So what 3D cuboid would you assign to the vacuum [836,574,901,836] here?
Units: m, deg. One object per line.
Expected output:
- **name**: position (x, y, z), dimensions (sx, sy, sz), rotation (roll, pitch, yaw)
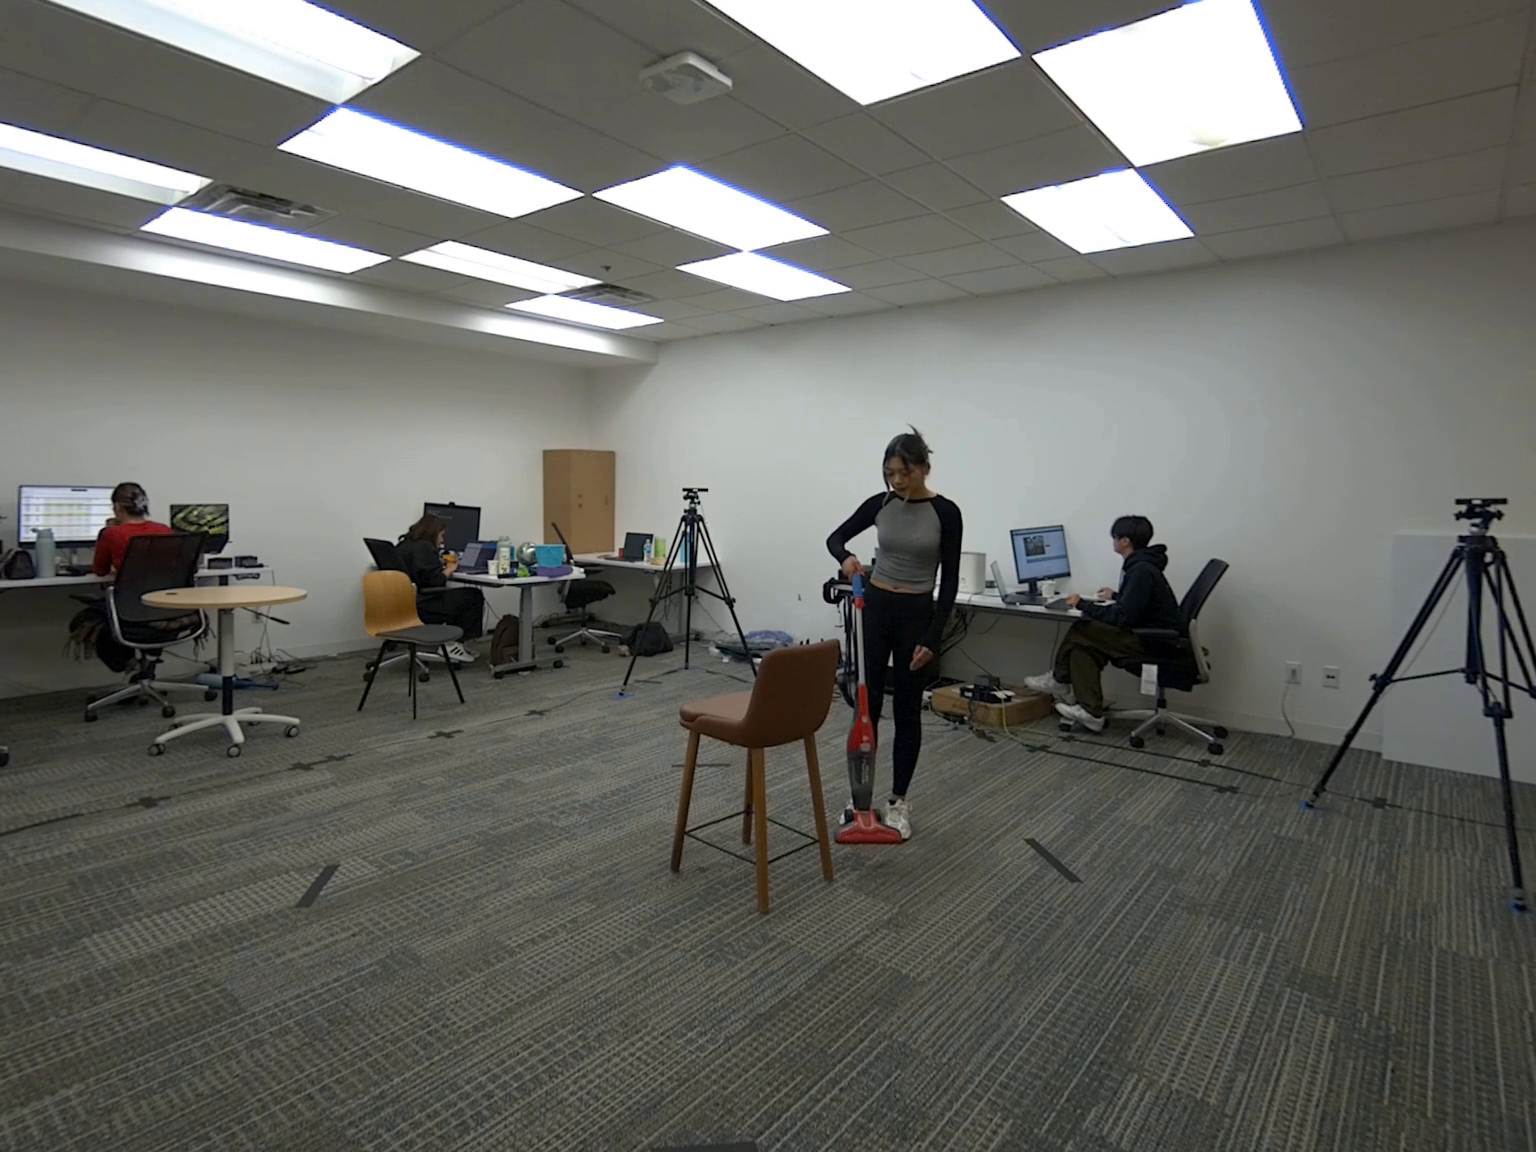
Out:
- **vacuum**: position (0.356, 0.432, 3.319), dimensions (0.252, 1.066, 0.142), rotation (1, -17, -3)
